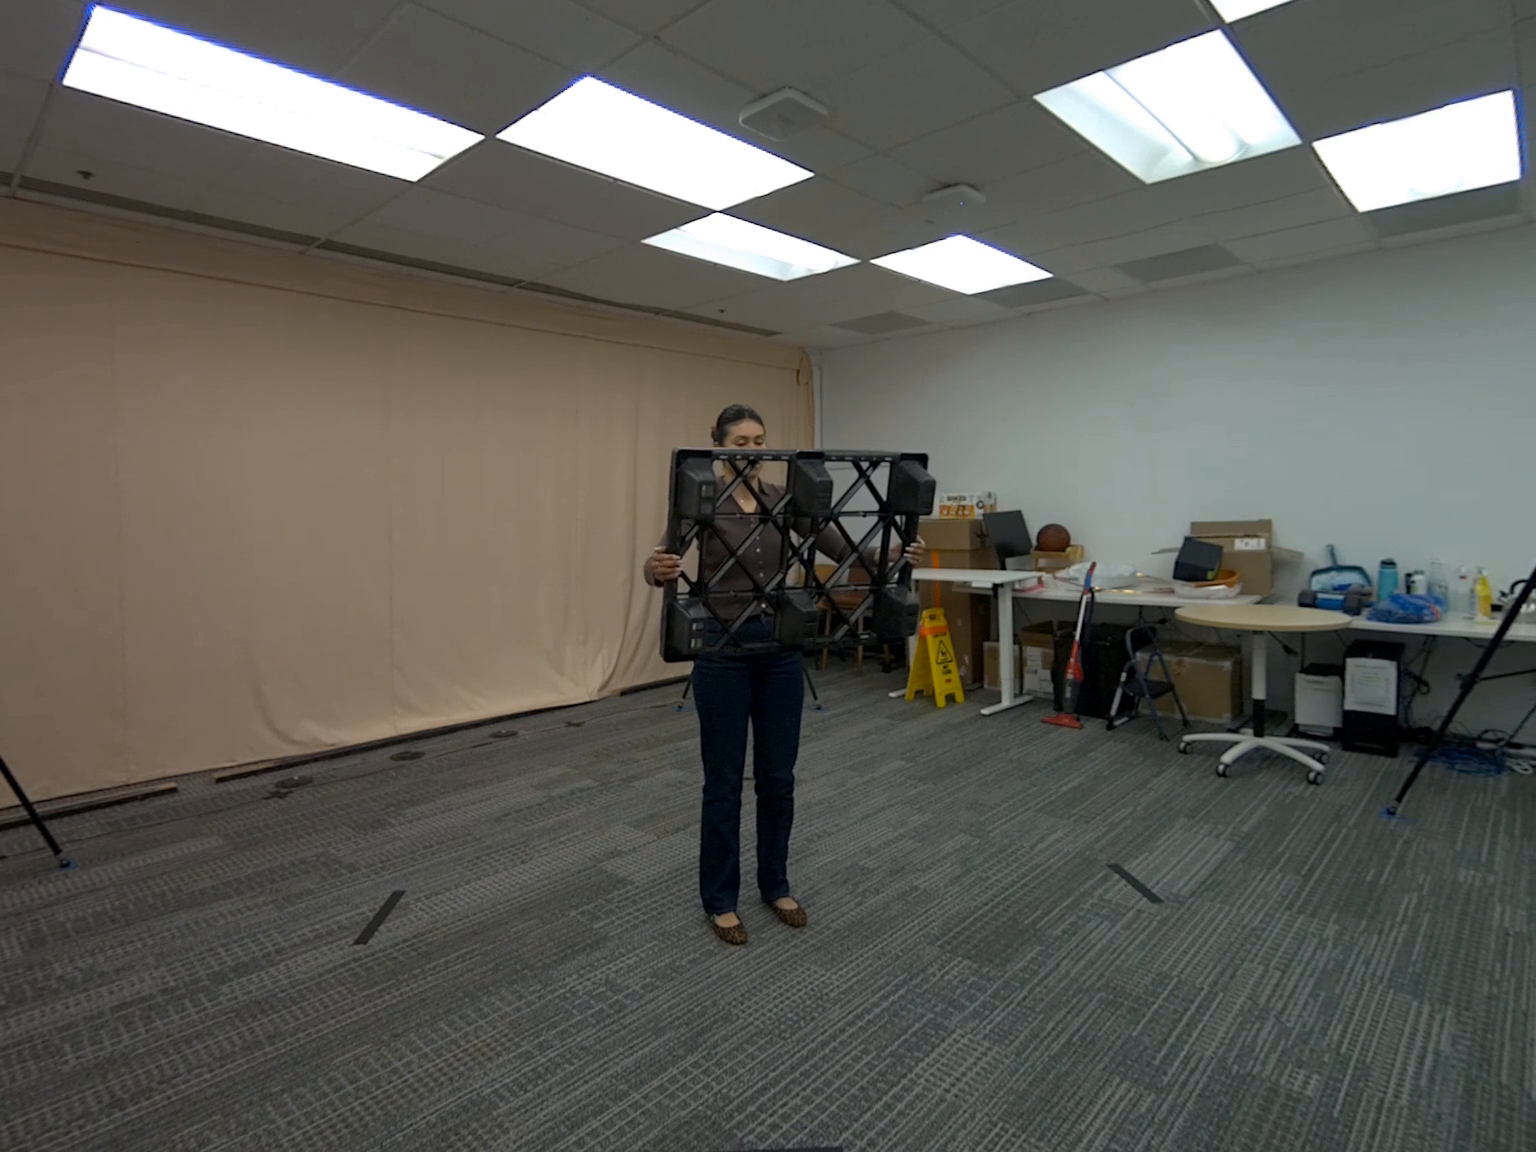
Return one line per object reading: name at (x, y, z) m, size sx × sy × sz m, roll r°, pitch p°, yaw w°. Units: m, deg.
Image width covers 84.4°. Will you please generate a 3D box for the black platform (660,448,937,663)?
black platform at (0.107, -0.048, 2.385) m, size 0.788 × 0.600 × 0.147 m, roll -2°, pitch 15°, yaw -22°
